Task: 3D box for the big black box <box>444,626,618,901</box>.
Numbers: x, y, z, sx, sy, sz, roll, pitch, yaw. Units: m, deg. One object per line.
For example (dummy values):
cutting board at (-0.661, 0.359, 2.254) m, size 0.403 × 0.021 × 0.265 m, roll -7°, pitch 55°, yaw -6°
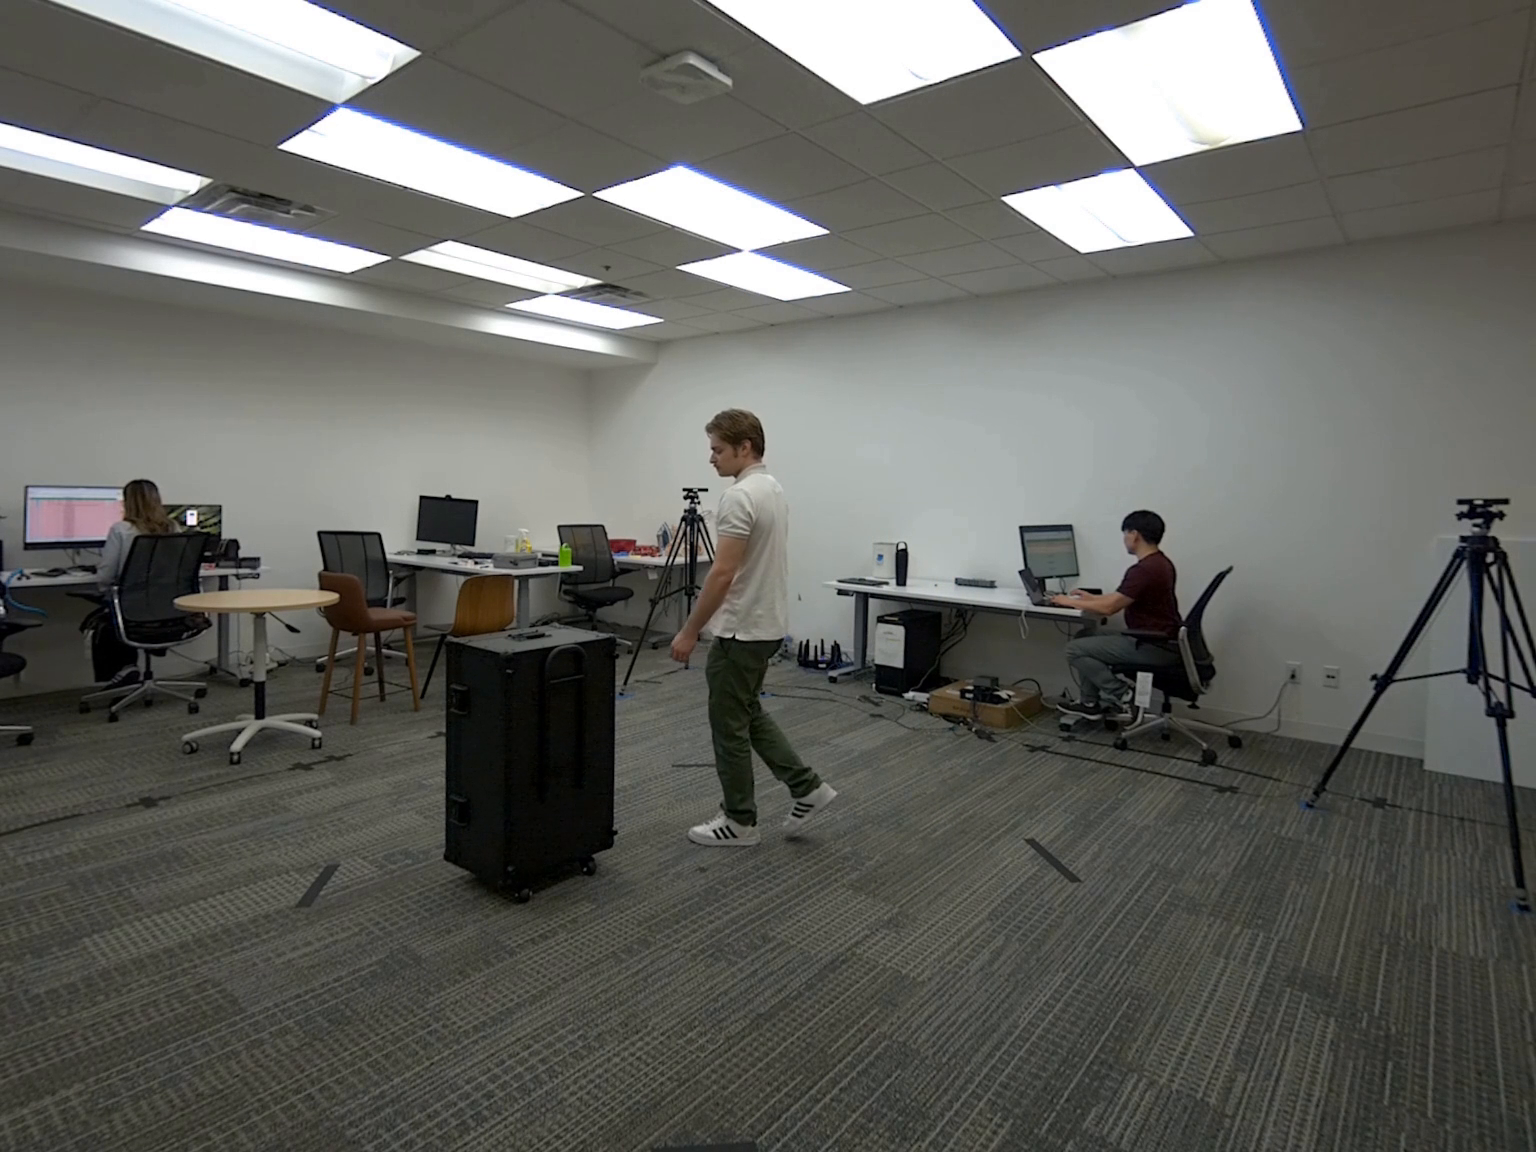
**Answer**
big black box at (-0.848, 0.646, 3.039) m, size 0.398 × 0.866 × 0.508 m, roll 4°, pitch 4°, yaw 38°
